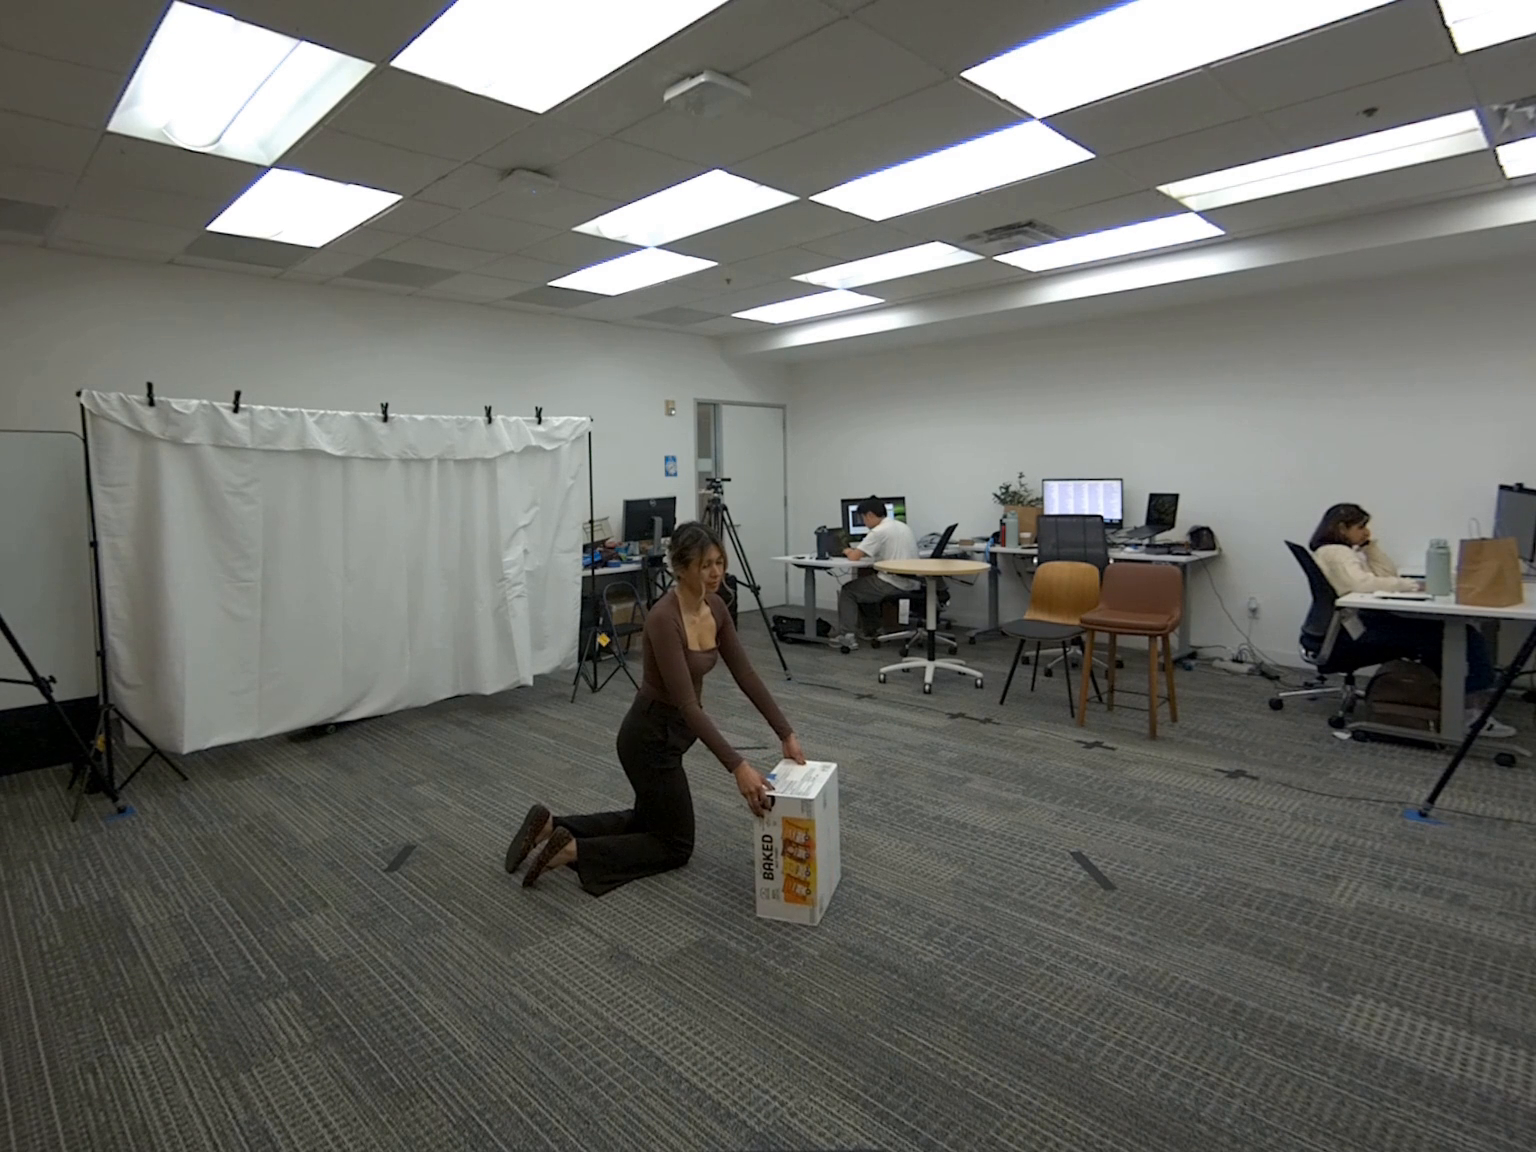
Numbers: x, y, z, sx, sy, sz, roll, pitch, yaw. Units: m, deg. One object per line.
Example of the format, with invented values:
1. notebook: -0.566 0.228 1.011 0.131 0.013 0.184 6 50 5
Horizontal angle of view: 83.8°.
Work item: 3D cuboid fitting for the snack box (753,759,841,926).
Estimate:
1. snack box: 0.108 0.869 2.833 0.209 0.404 0.335 -1 4 18
